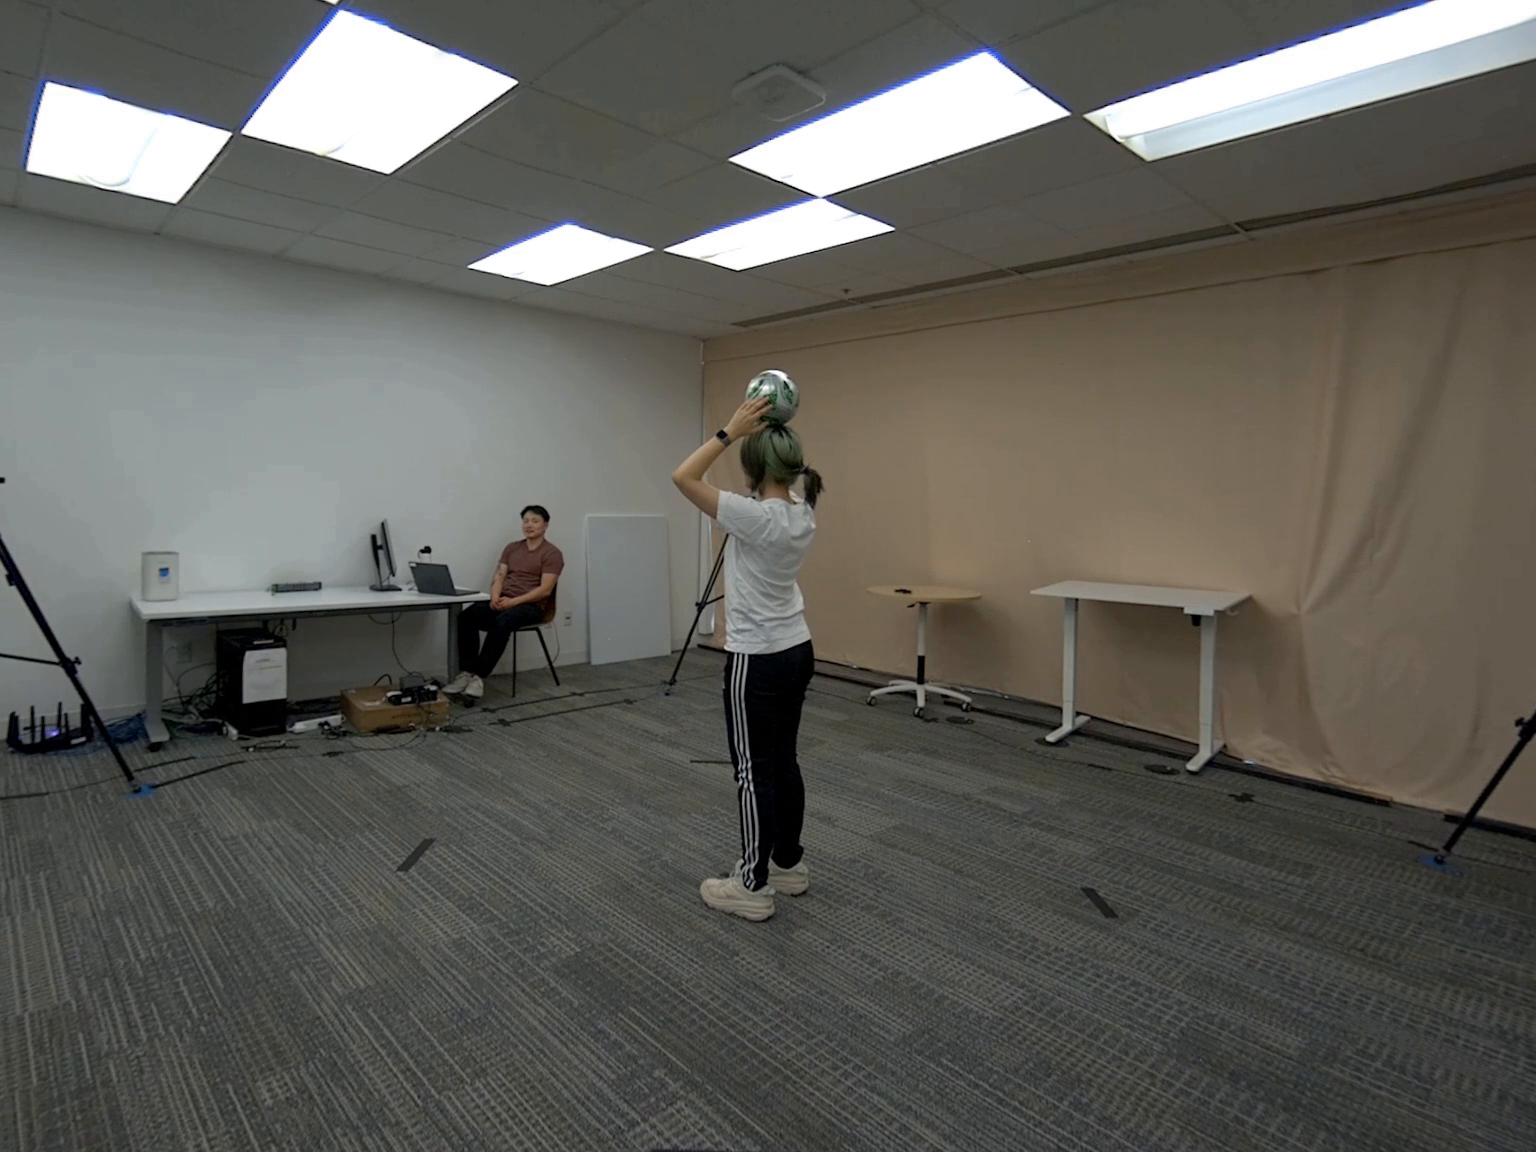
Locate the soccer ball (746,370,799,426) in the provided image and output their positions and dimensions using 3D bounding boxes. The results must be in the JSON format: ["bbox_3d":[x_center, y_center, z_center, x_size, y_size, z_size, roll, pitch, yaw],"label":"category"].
[{"bbox_3d":[0.008,-0.594,2.829,0.187,0.187,0.188,1,4,-1],"label":"soccer ball"}]
